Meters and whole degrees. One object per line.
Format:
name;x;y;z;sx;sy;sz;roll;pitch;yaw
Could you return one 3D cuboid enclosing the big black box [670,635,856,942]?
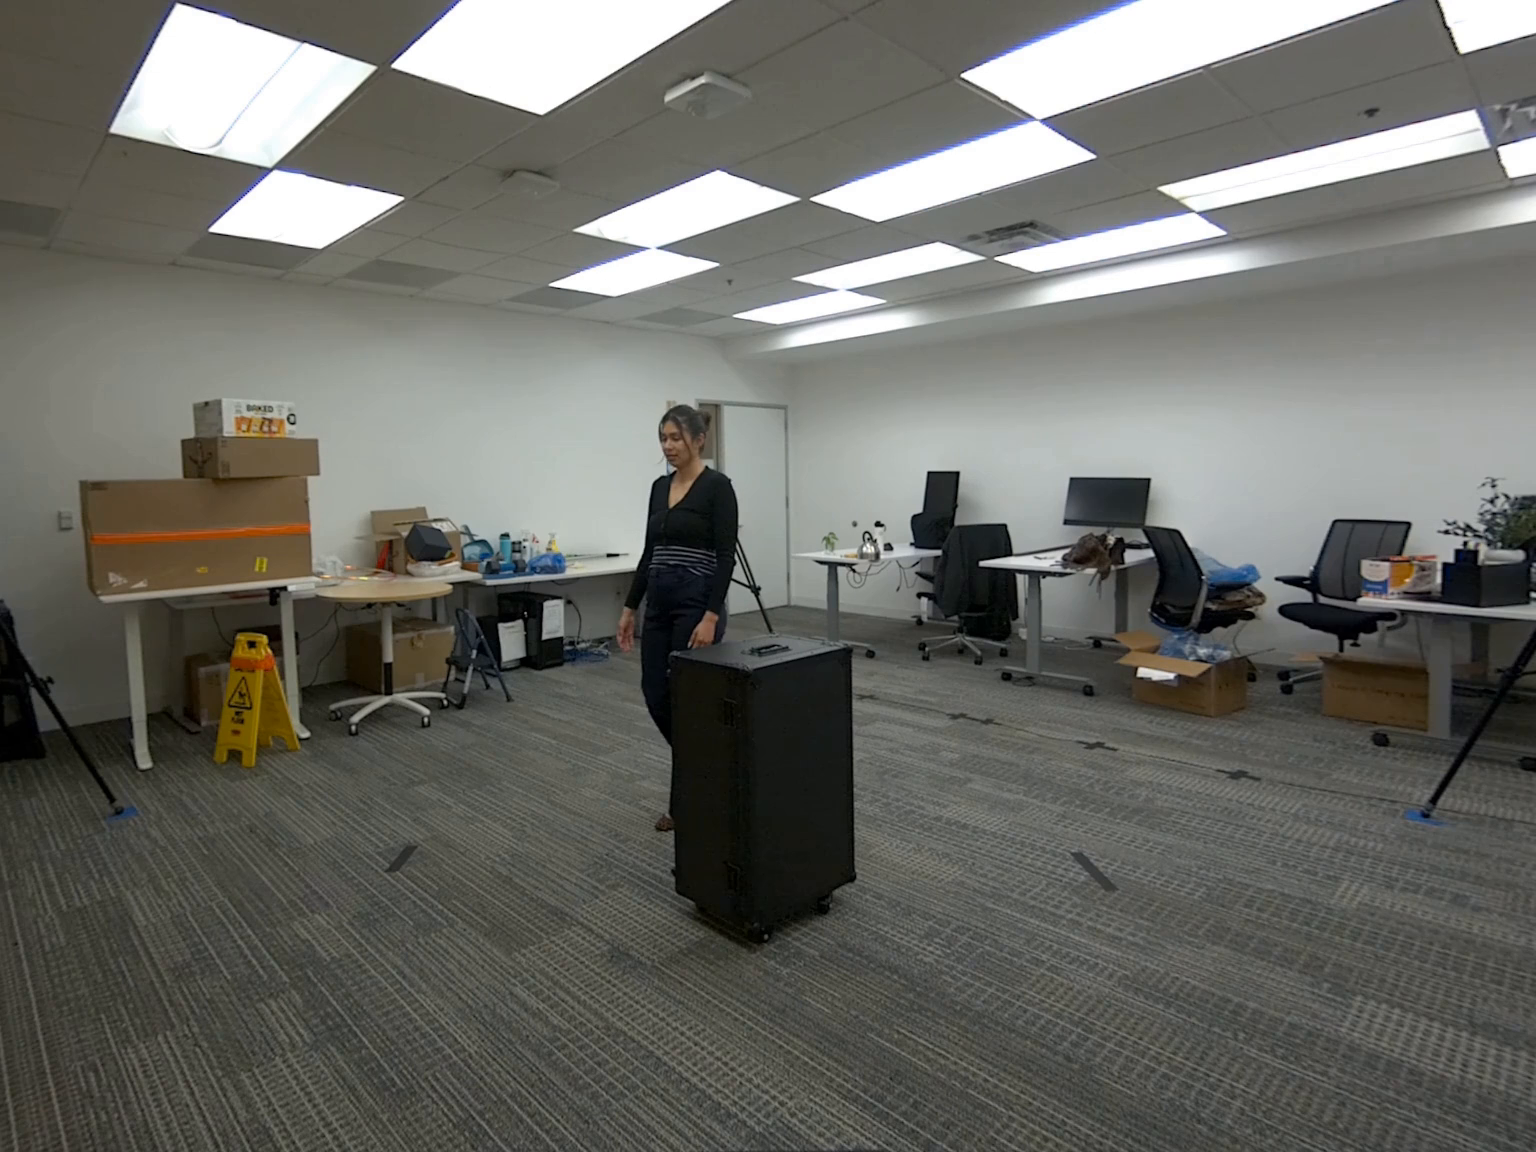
big black box;-0.015;0.603;2.764;0.507;0.858;0.408;-5;6;-44
